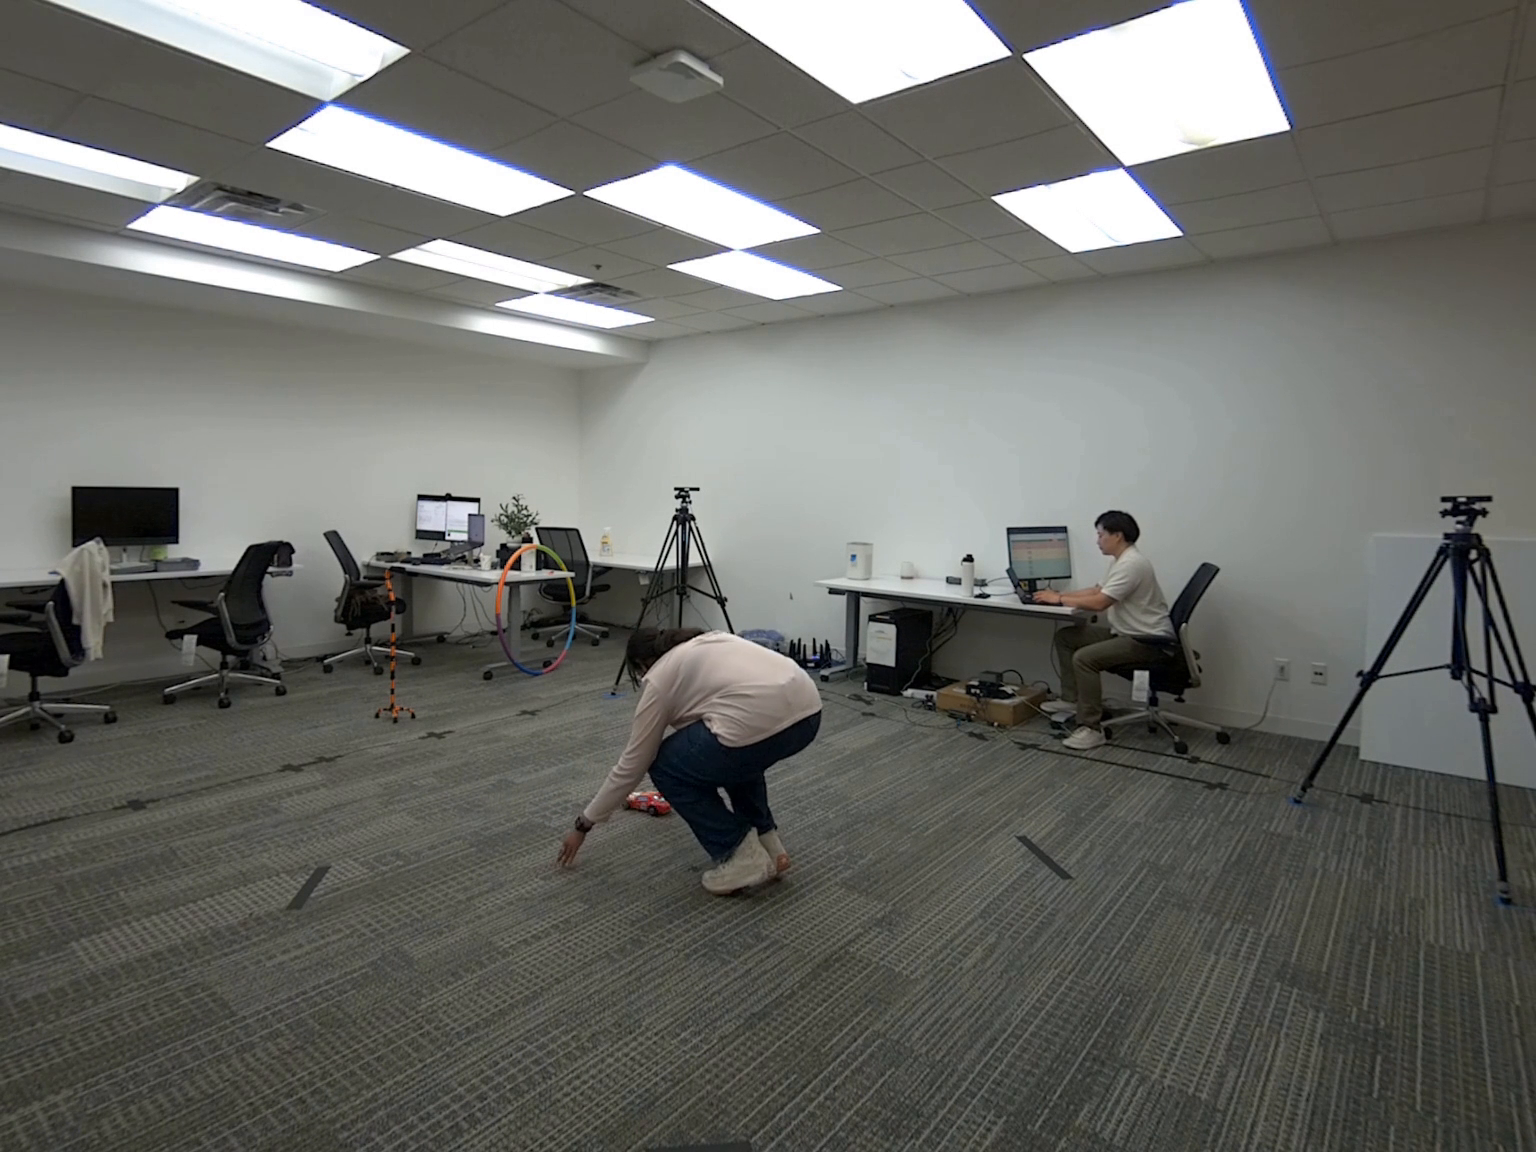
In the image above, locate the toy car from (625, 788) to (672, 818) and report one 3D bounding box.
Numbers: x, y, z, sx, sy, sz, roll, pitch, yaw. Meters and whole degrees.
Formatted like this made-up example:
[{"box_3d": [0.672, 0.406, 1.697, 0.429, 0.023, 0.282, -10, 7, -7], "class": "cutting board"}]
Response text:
[{"box_3d": [-0.519, 0.975, 3.671, 0.260, 0.083, 0.127, -9, -1, 30], "class": "toy car"}]
